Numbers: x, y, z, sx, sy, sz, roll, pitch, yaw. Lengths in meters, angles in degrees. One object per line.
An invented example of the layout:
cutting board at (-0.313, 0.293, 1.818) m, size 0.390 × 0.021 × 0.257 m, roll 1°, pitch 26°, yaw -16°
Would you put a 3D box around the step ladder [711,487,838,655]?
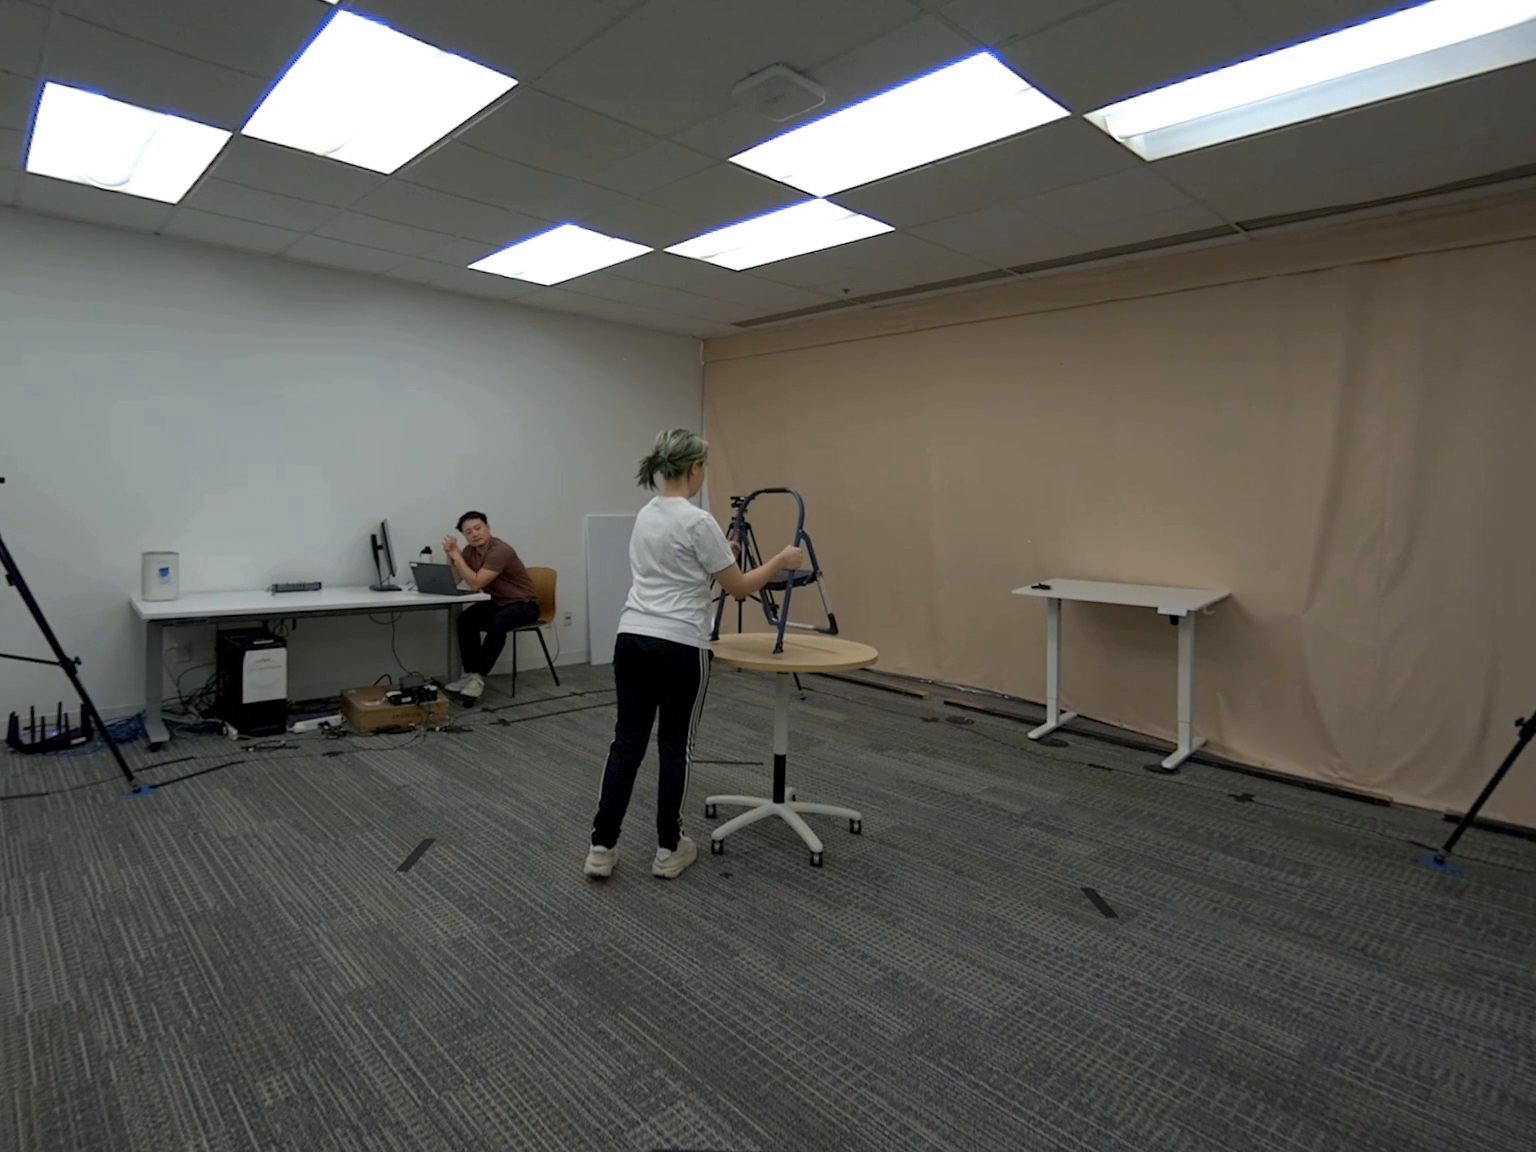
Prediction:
step ladder at (-0.008, -0.046, 3.400) m, size 0.343 × 0.602 × 0.441 m, roll -11°, pitch 10°, yaw -40°
